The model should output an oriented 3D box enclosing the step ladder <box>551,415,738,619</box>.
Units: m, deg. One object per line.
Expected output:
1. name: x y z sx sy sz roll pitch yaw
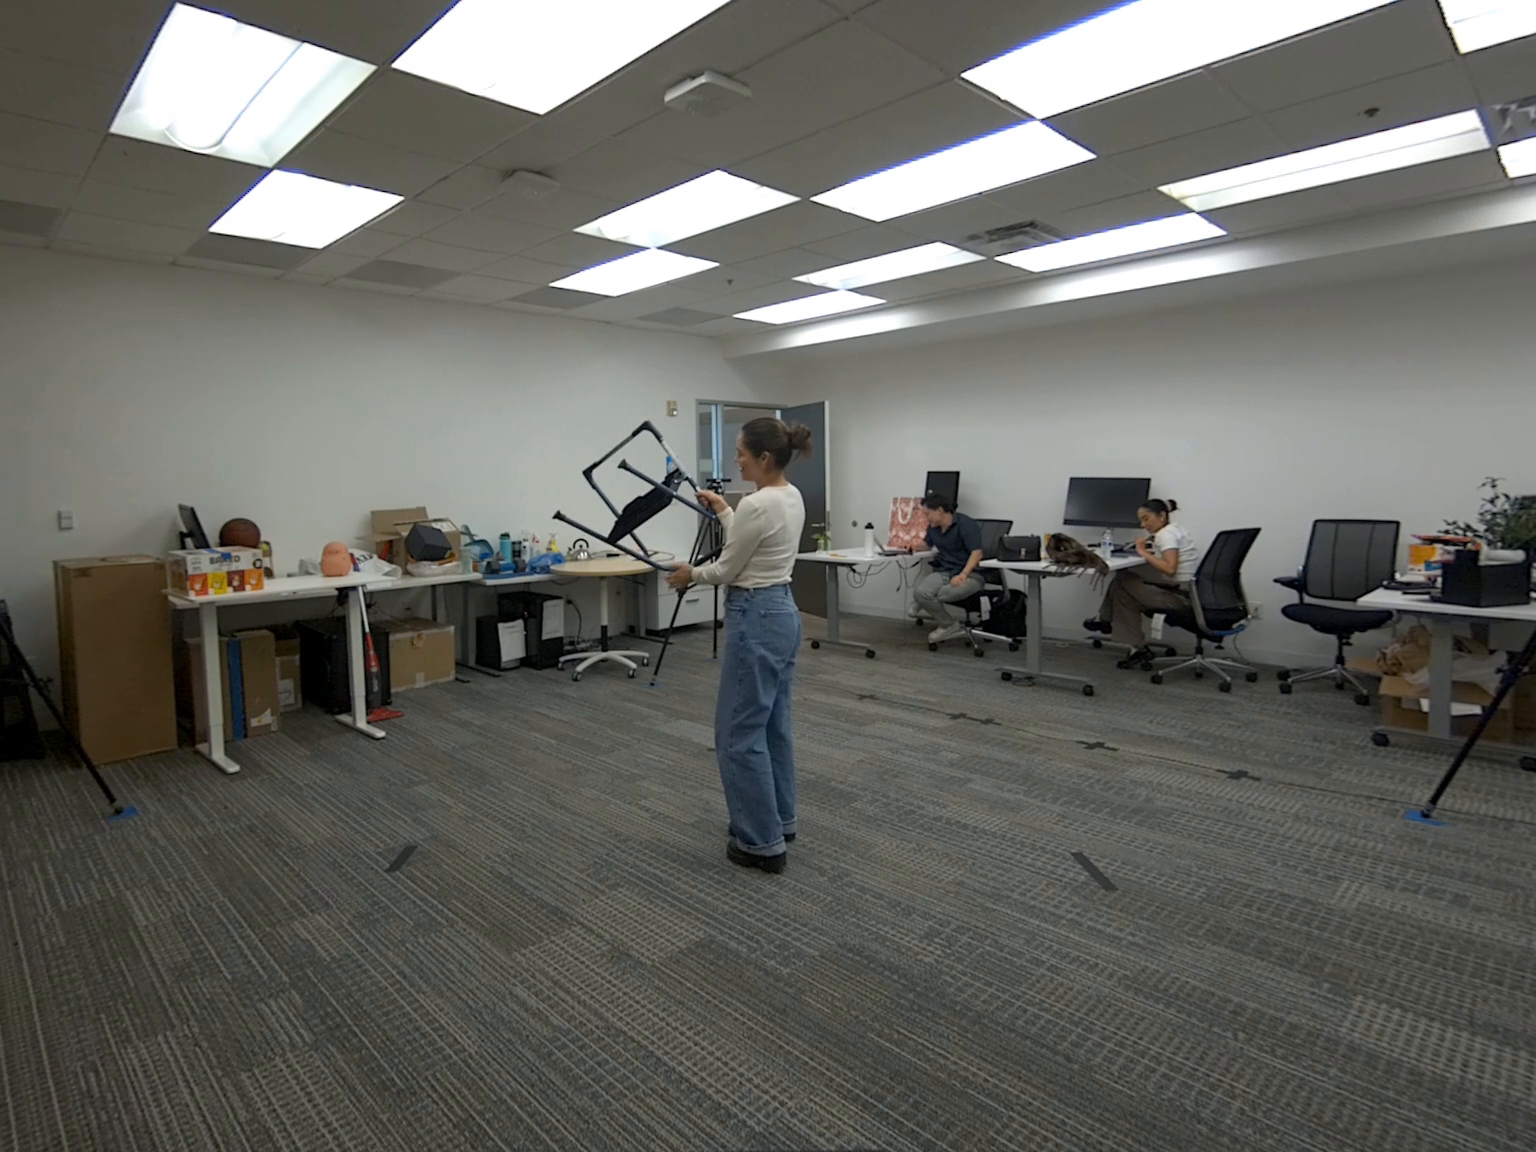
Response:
1. step ladder: -0.449 -0.228 3.411 0.435 0.591 0.354 -31 24 33
